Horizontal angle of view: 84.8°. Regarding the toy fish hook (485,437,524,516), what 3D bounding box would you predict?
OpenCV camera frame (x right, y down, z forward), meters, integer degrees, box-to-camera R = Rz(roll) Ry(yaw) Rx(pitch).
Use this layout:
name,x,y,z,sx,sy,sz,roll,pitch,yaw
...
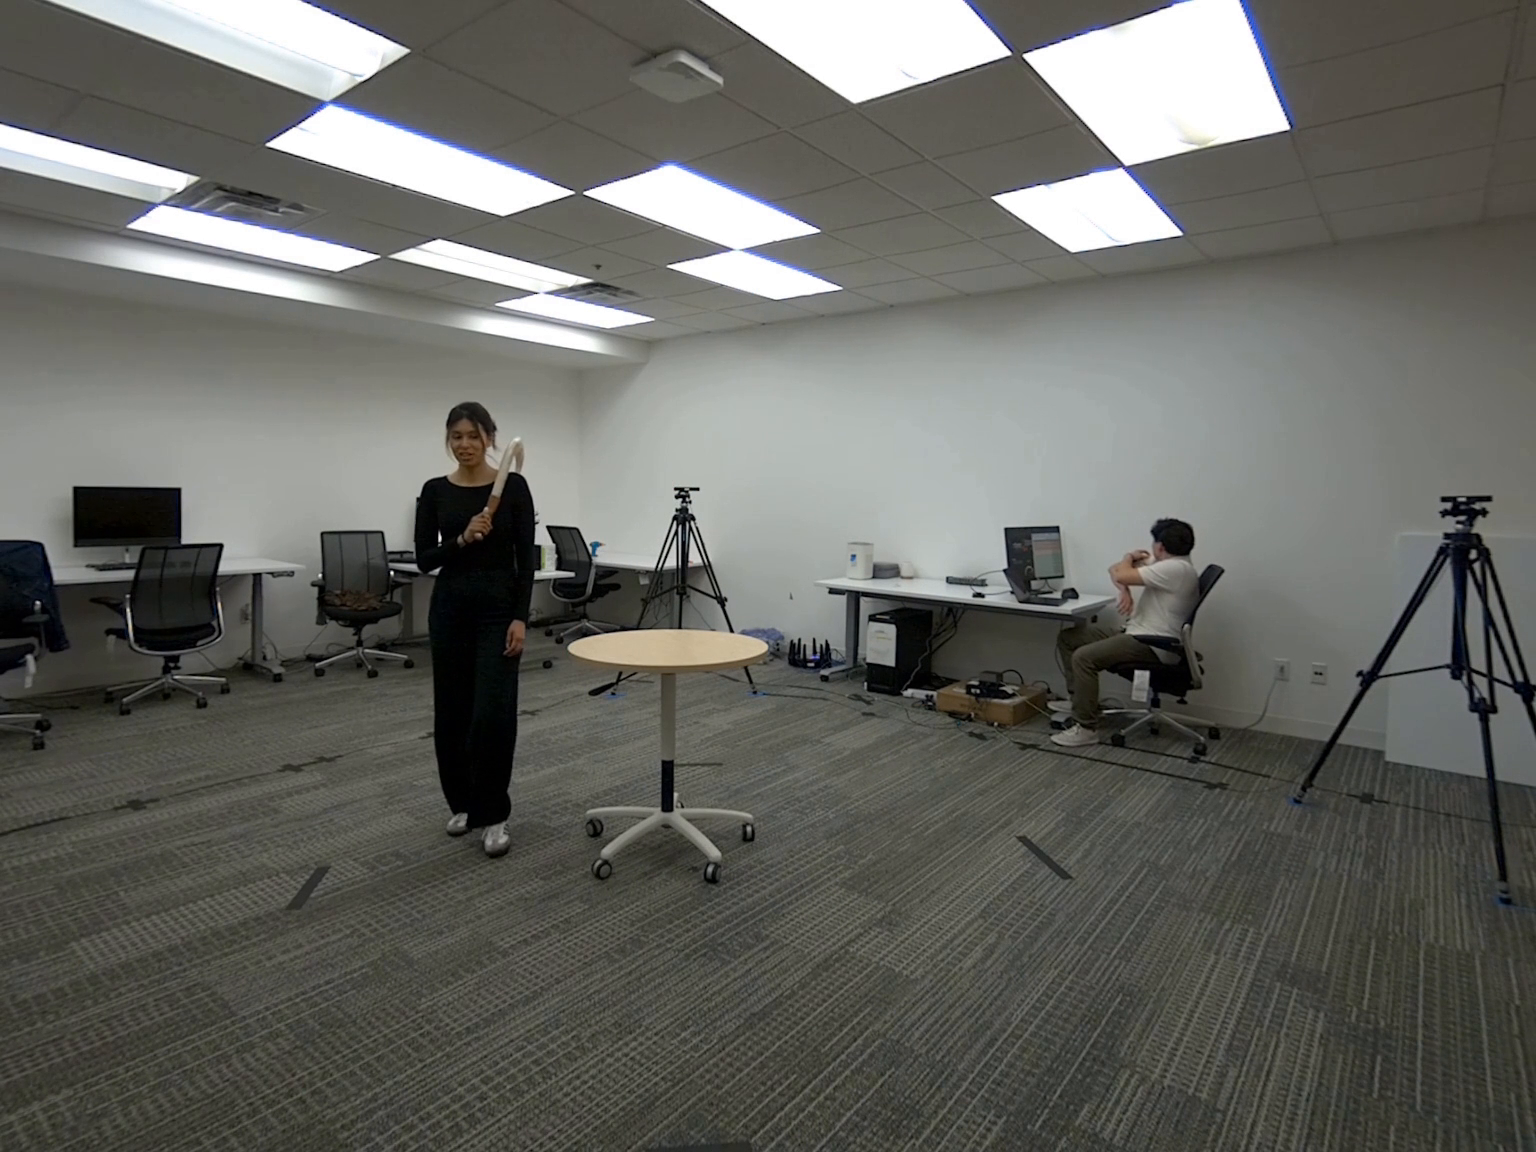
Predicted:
name,x,y,z,sx,sy,sz,roll,pitch,yaw
toy fish hook,-1.077,-0.327,3.379,0.049,0.516,0.218,9,-32,5
